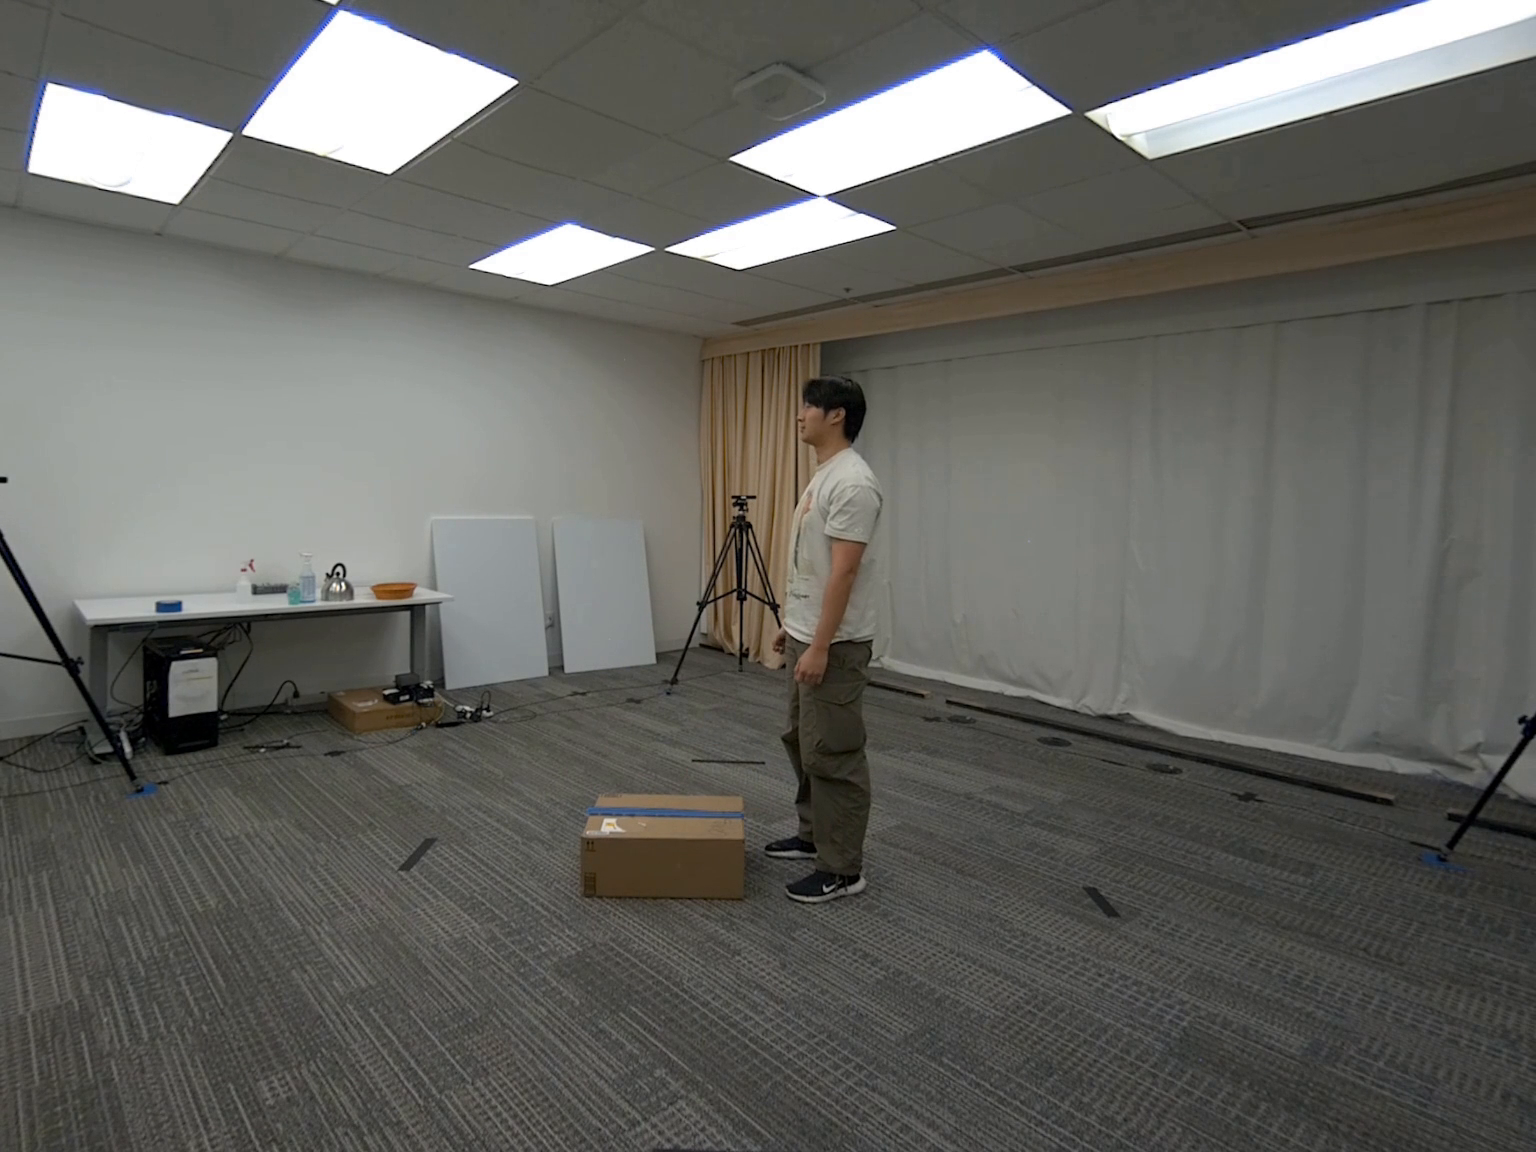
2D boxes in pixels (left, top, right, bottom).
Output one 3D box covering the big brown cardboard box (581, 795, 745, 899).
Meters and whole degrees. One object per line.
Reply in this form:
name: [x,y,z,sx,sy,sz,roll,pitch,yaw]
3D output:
big brown cardboard box: [-0.384,0.981,3.103,0.588,0.232,0.419,3,5,-2]
